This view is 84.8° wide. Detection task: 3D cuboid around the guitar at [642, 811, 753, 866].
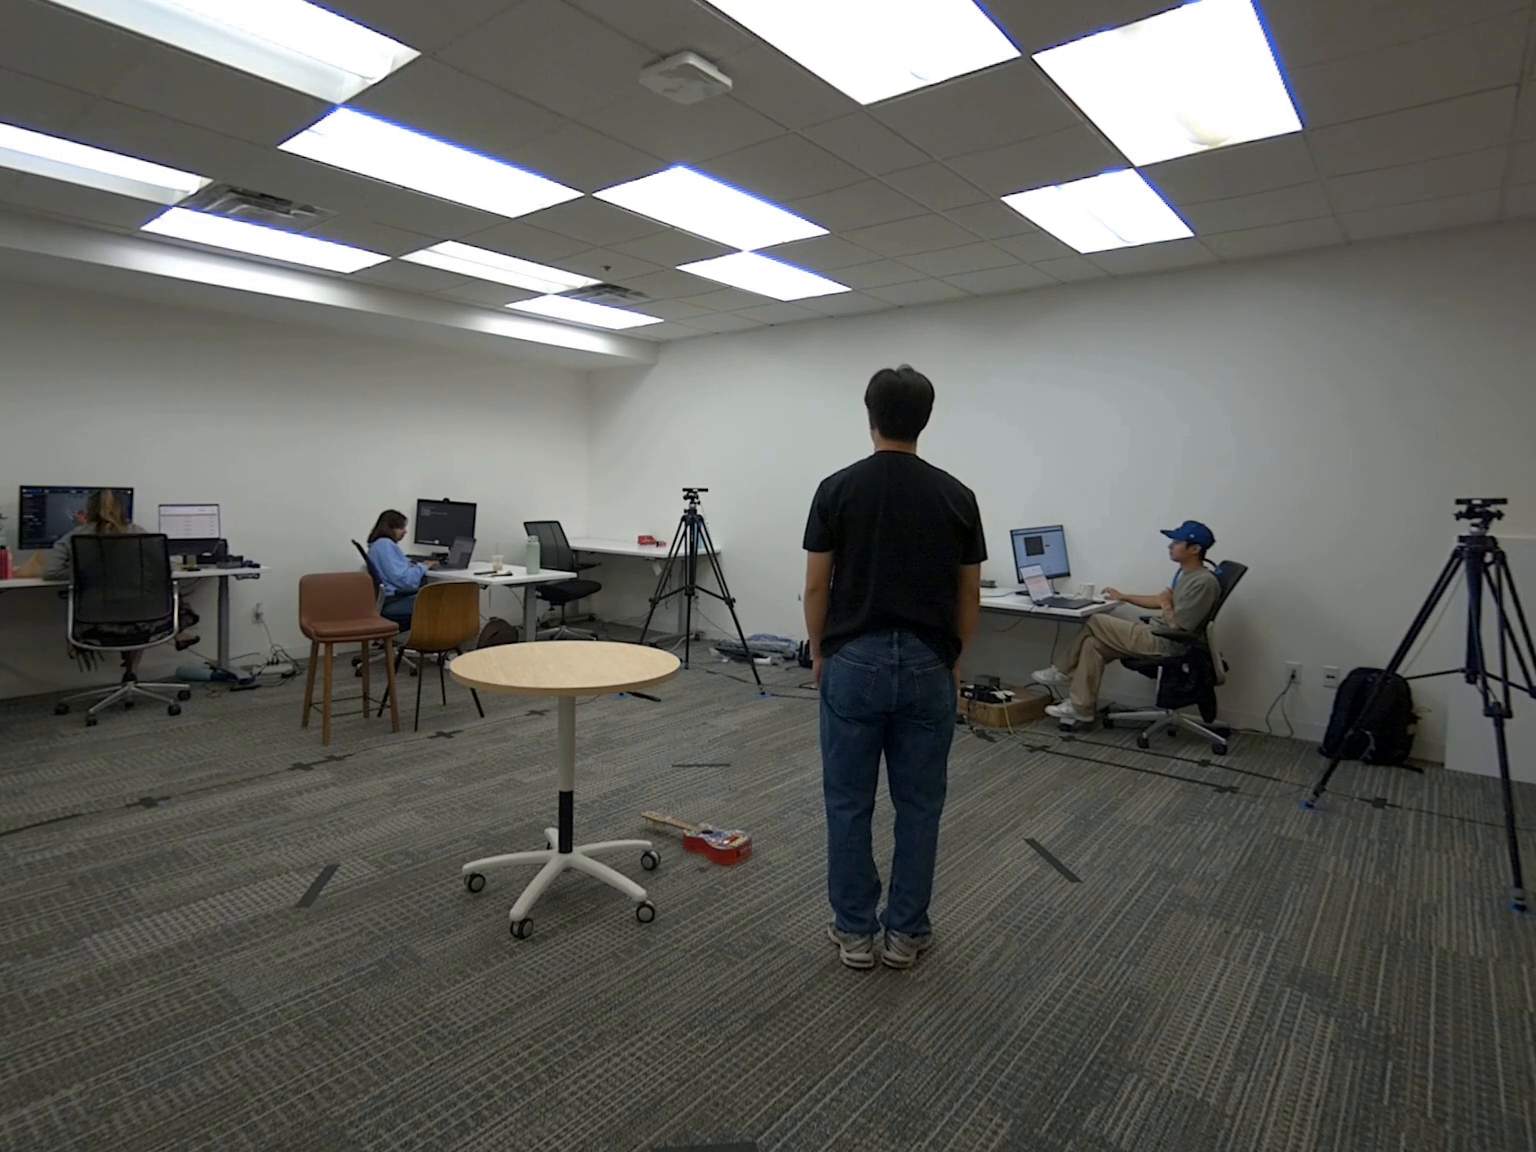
[{"bbox_3d":[-0.294,1.009,3.365,0.515,0.070,0.187,6,8,42],"label":"guitar"}]
